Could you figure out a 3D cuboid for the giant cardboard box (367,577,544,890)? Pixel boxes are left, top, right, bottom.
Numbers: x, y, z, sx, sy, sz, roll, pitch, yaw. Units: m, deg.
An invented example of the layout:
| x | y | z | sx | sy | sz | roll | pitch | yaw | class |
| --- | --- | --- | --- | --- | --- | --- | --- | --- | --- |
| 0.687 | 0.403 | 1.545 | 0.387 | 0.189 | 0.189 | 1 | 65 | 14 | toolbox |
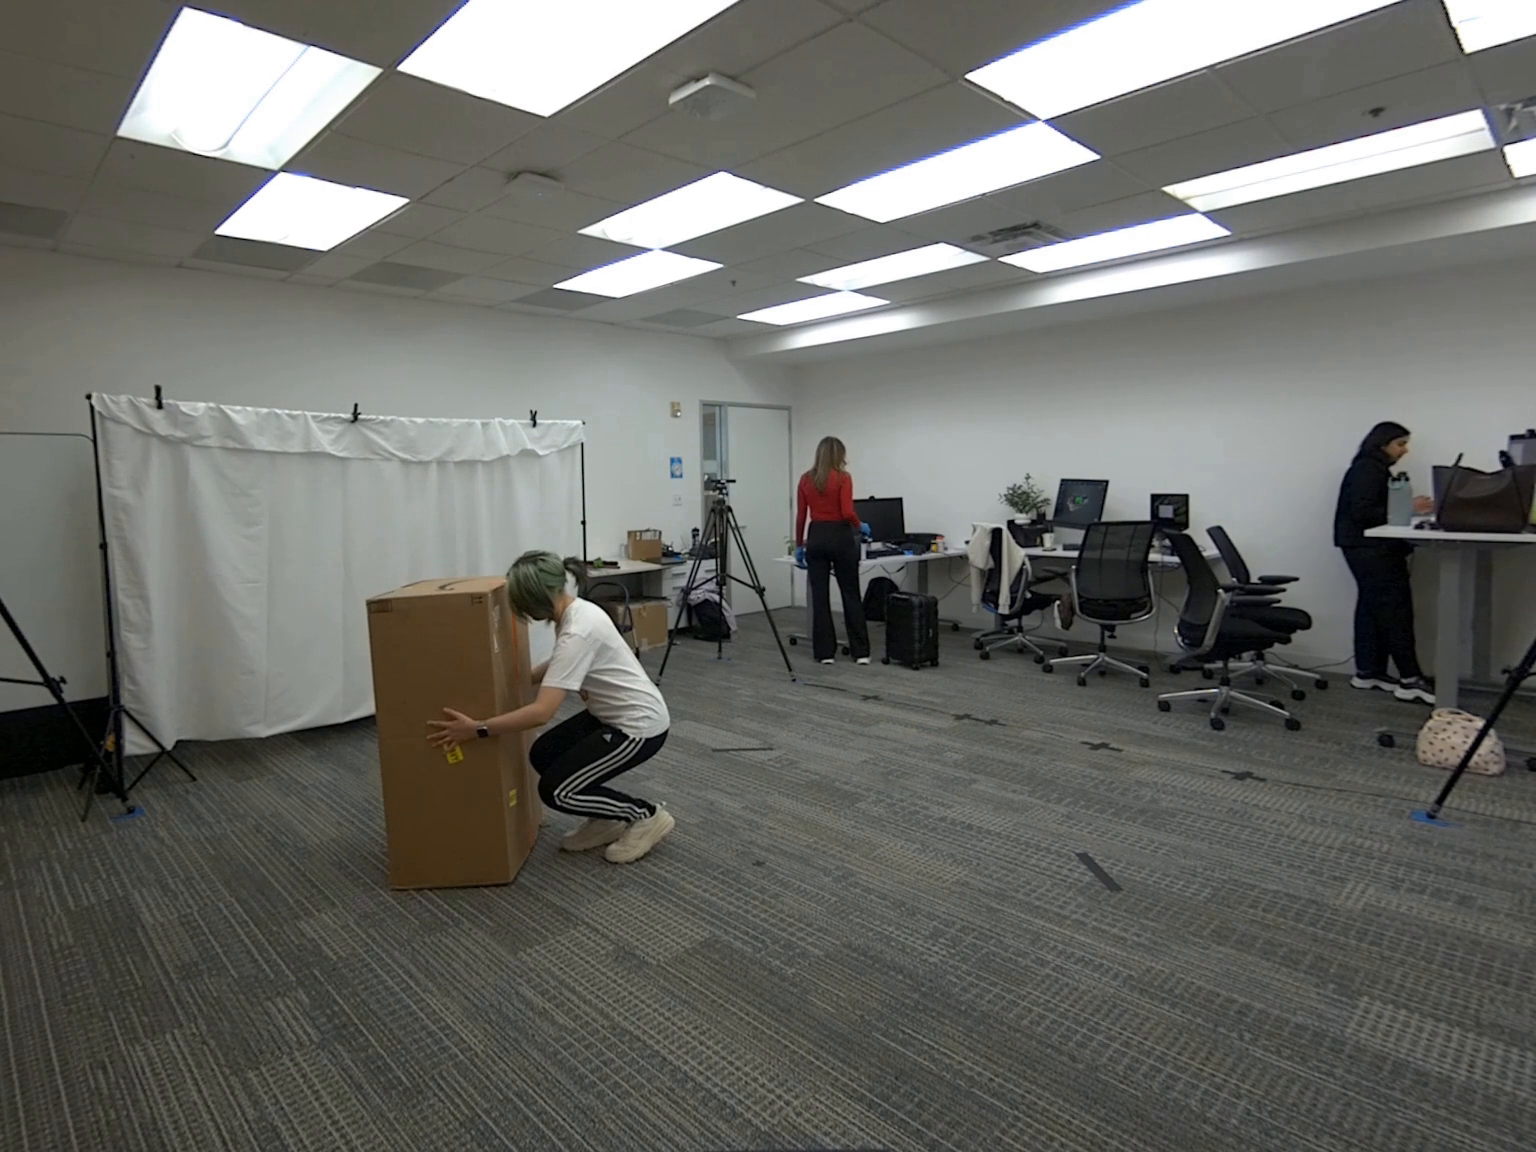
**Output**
| x | y | z | sx | sy | sz | roll | pitch | yaw | class |
| --- | --- | --- | --- | --- | --- | --- | --- | --- | --- |
| -1.151 | 0.545 | 3.229 | 0.446 | 1.024 | 0.586 | -4 | 3 | -2 | giant cardboard box |
